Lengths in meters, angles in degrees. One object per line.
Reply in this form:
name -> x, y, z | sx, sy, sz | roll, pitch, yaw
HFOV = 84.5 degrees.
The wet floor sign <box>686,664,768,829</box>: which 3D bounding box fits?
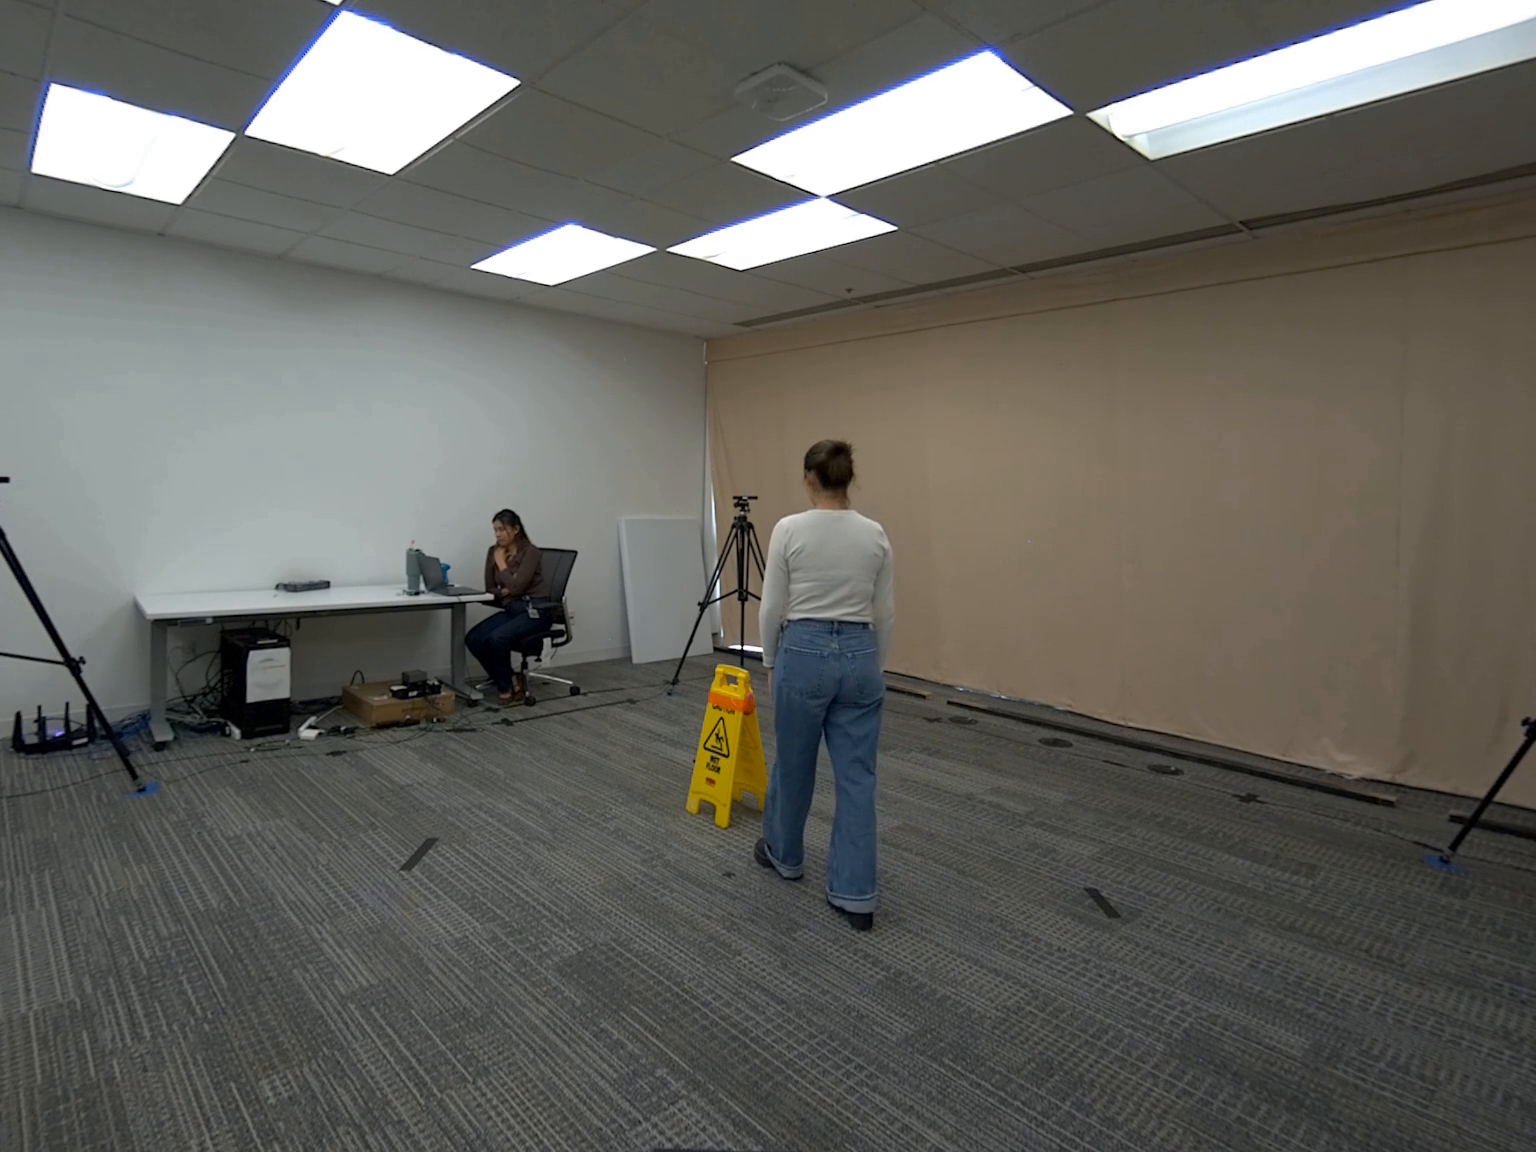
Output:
wet floor sign -> -0.175, 0.724, 3.715 | 0.283, 0.645, 0.289 | -2, 4, -42
